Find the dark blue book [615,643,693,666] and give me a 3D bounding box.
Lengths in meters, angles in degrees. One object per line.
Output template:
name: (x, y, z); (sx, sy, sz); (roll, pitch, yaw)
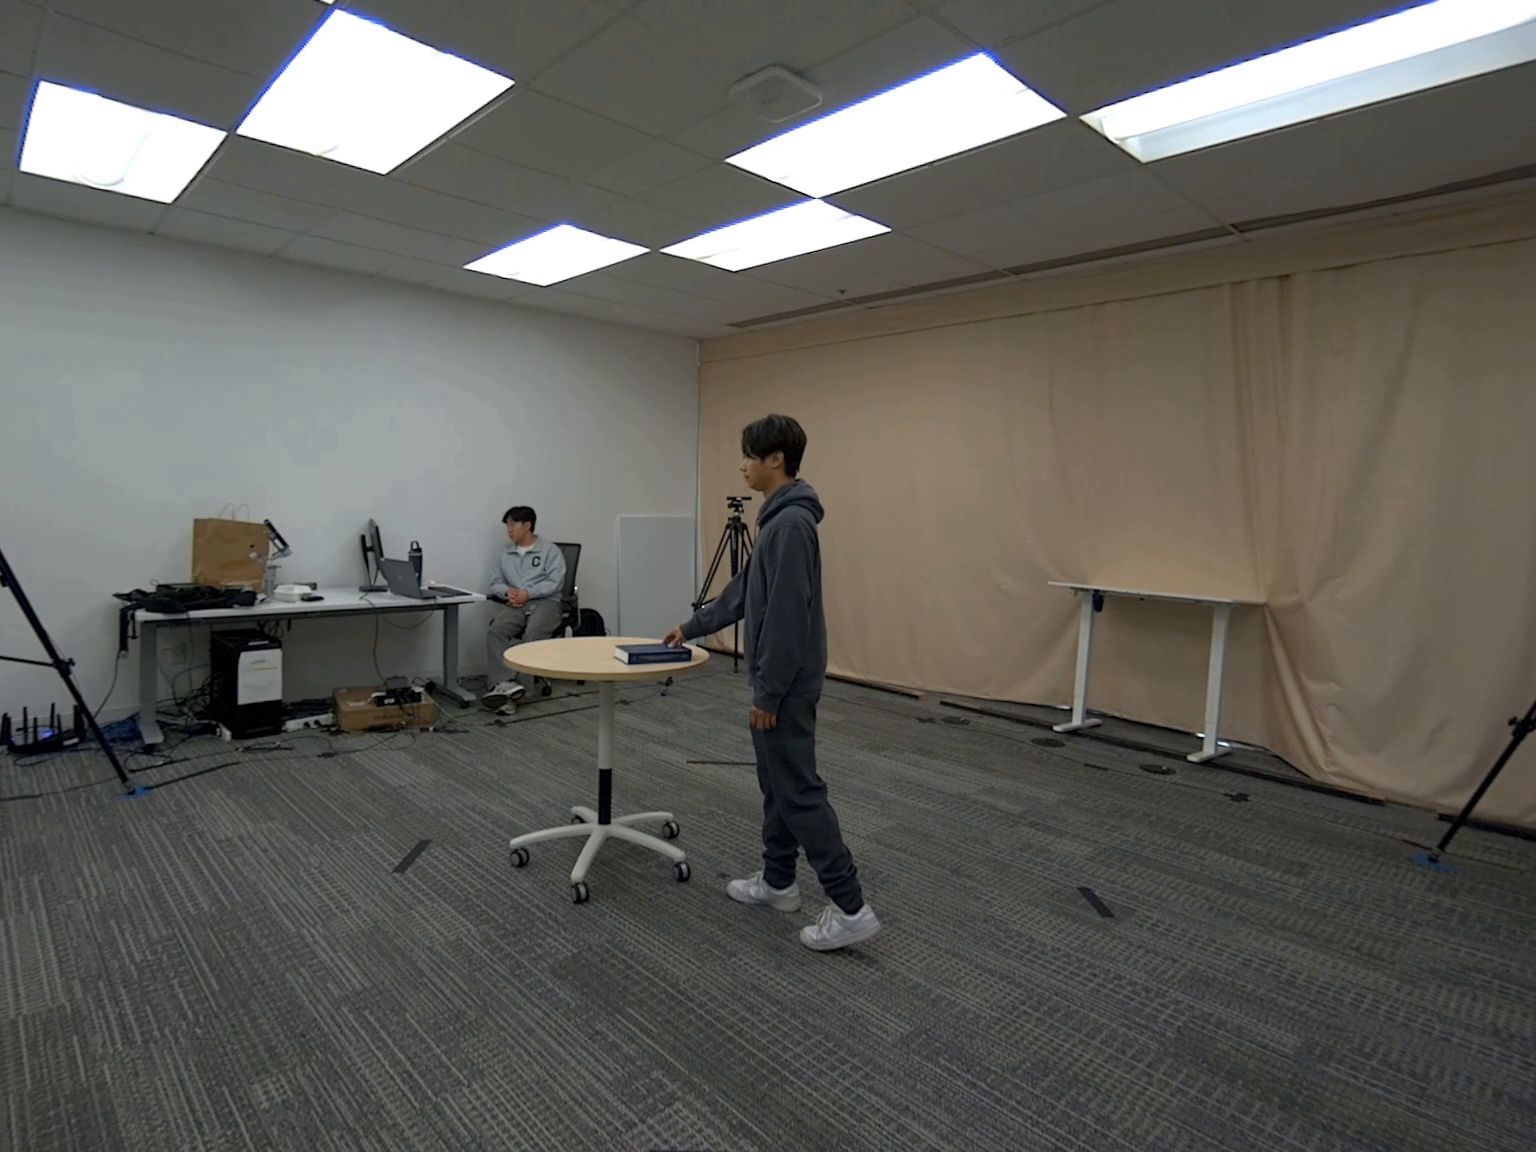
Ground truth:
dark blue book: (-0.429, 0.290, 3.081); (0.241, 0.045, 0.166); (-3, 6, -23)
